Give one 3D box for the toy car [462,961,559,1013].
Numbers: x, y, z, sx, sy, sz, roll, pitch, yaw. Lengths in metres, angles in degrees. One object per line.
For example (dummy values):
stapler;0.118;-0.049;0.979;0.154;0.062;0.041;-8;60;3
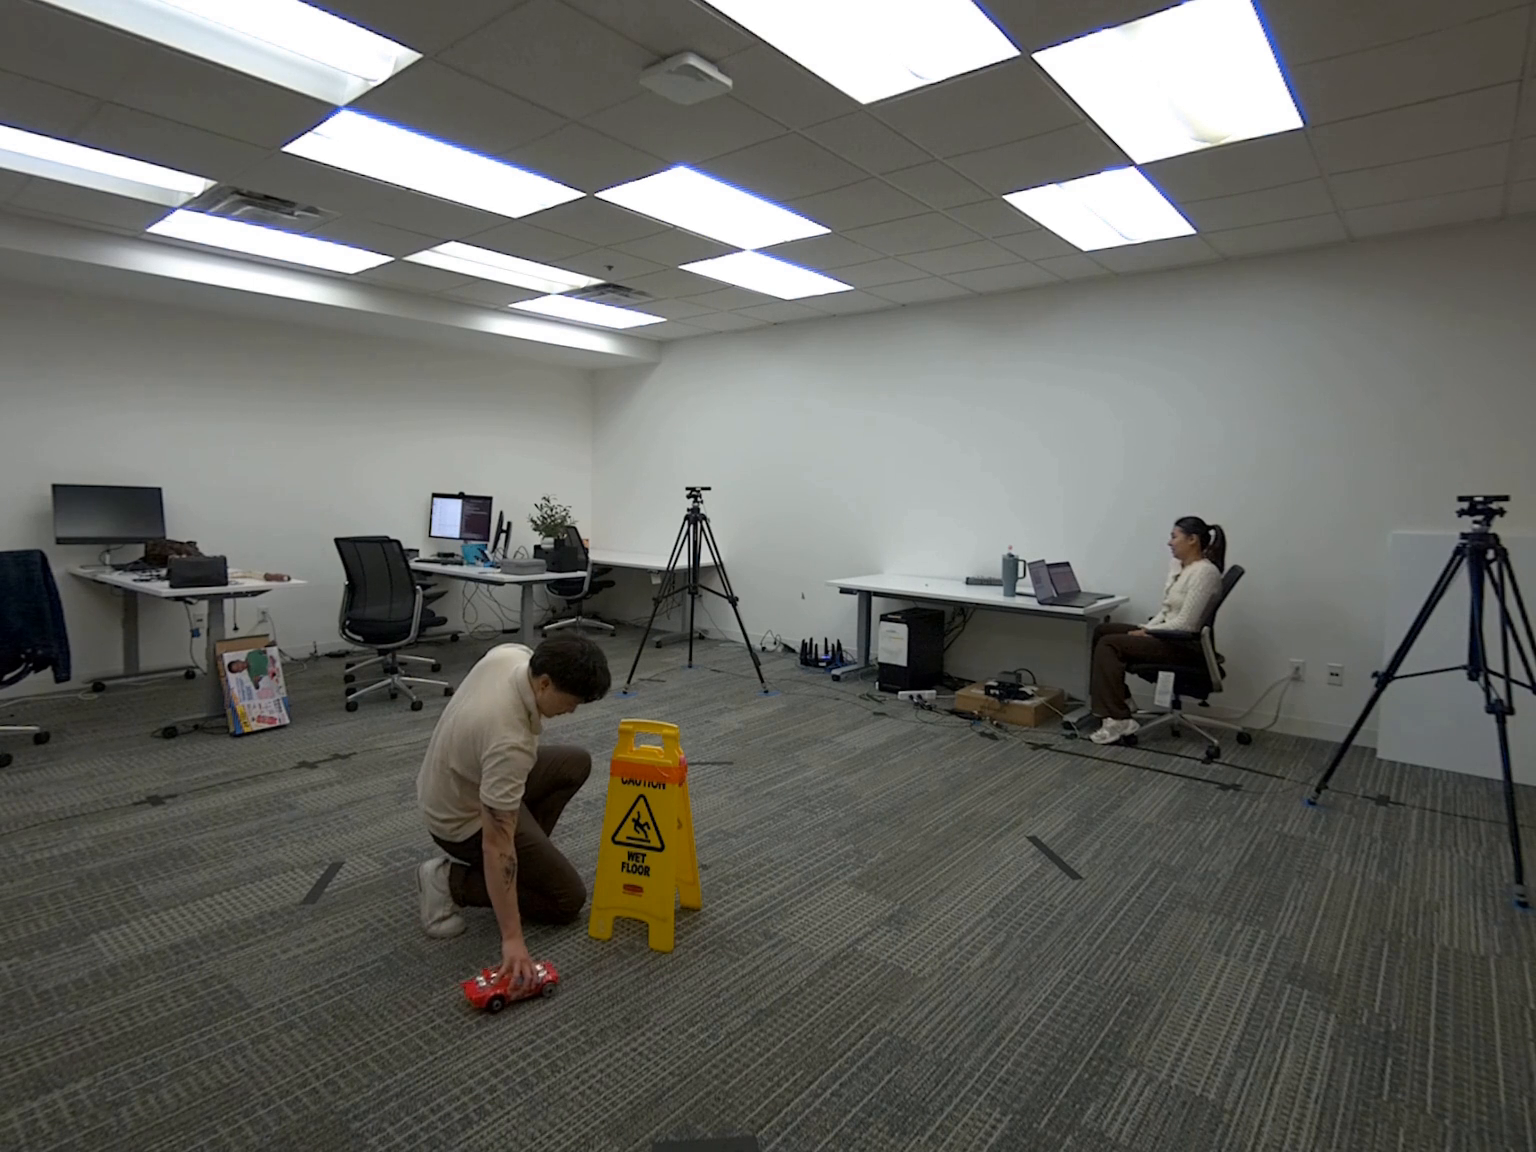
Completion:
toy car;-0.717;1.095;2.327;0.246;0.083;0.134;11;-1;-32
